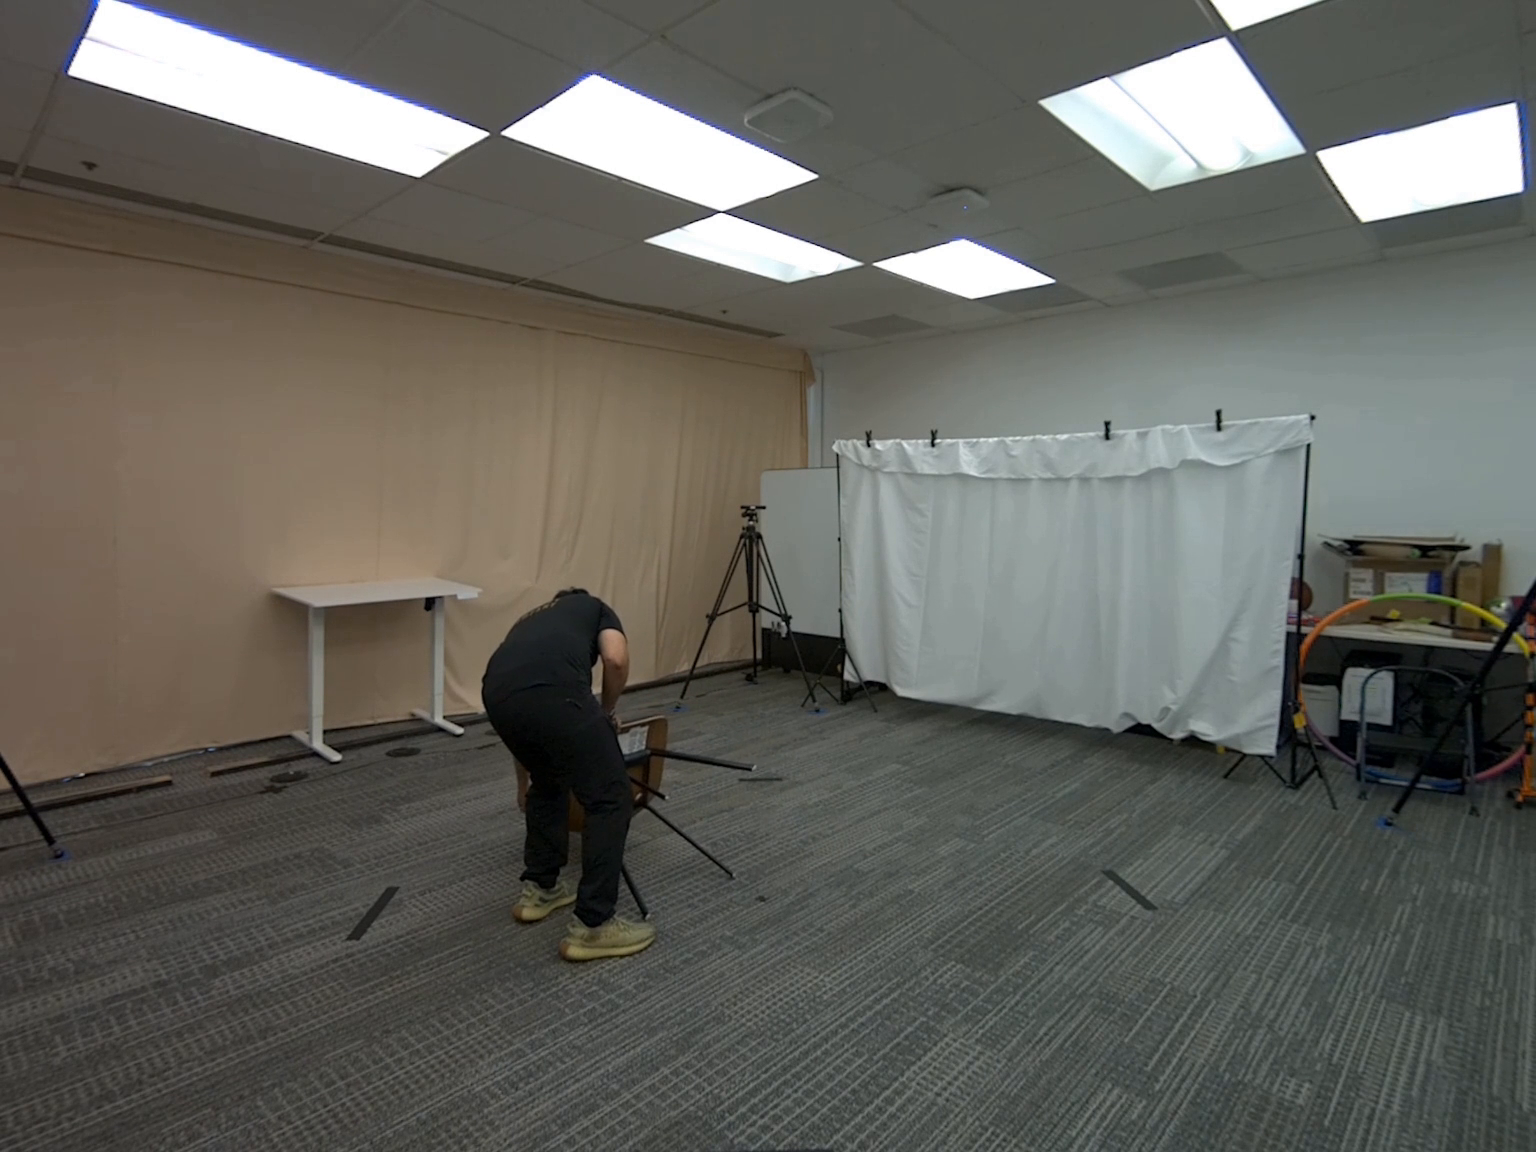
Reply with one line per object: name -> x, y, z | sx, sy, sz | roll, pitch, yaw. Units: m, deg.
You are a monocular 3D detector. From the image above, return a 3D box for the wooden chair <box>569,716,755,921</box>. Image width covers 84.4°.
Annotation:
wooden chair -> -0.543, 0.803, 3.229 | 0.908, 0.521, 0.463 | 13, 11, 40
